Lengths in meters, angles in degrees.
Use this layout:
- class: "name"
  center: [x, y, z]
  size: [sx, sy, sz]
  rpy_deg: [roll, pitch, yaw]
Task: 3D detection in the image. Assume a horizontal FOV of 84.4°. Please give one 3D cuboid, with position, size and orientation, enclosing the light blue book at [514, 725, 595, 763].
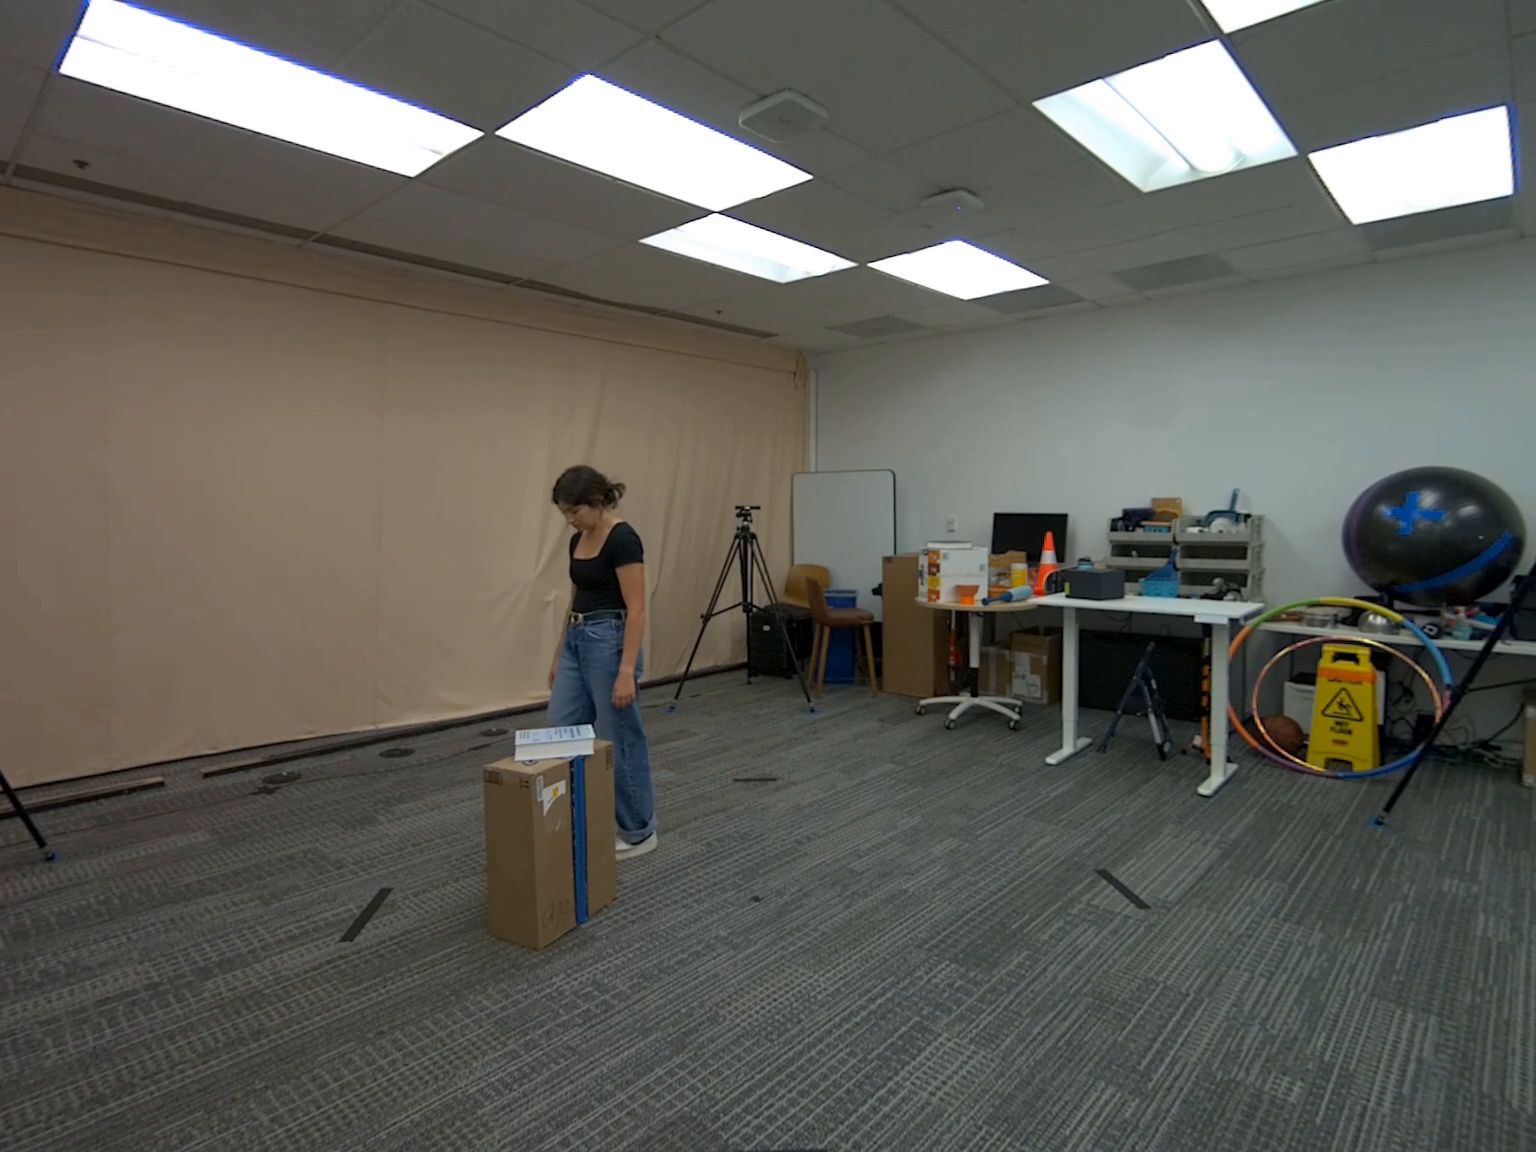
- class: "light blue book"
  center: [-0.741, 0.563, 2.878]
  size: [0.257, 0.059, 0.195]
  rpy_deg: [-2, 6, -14]
